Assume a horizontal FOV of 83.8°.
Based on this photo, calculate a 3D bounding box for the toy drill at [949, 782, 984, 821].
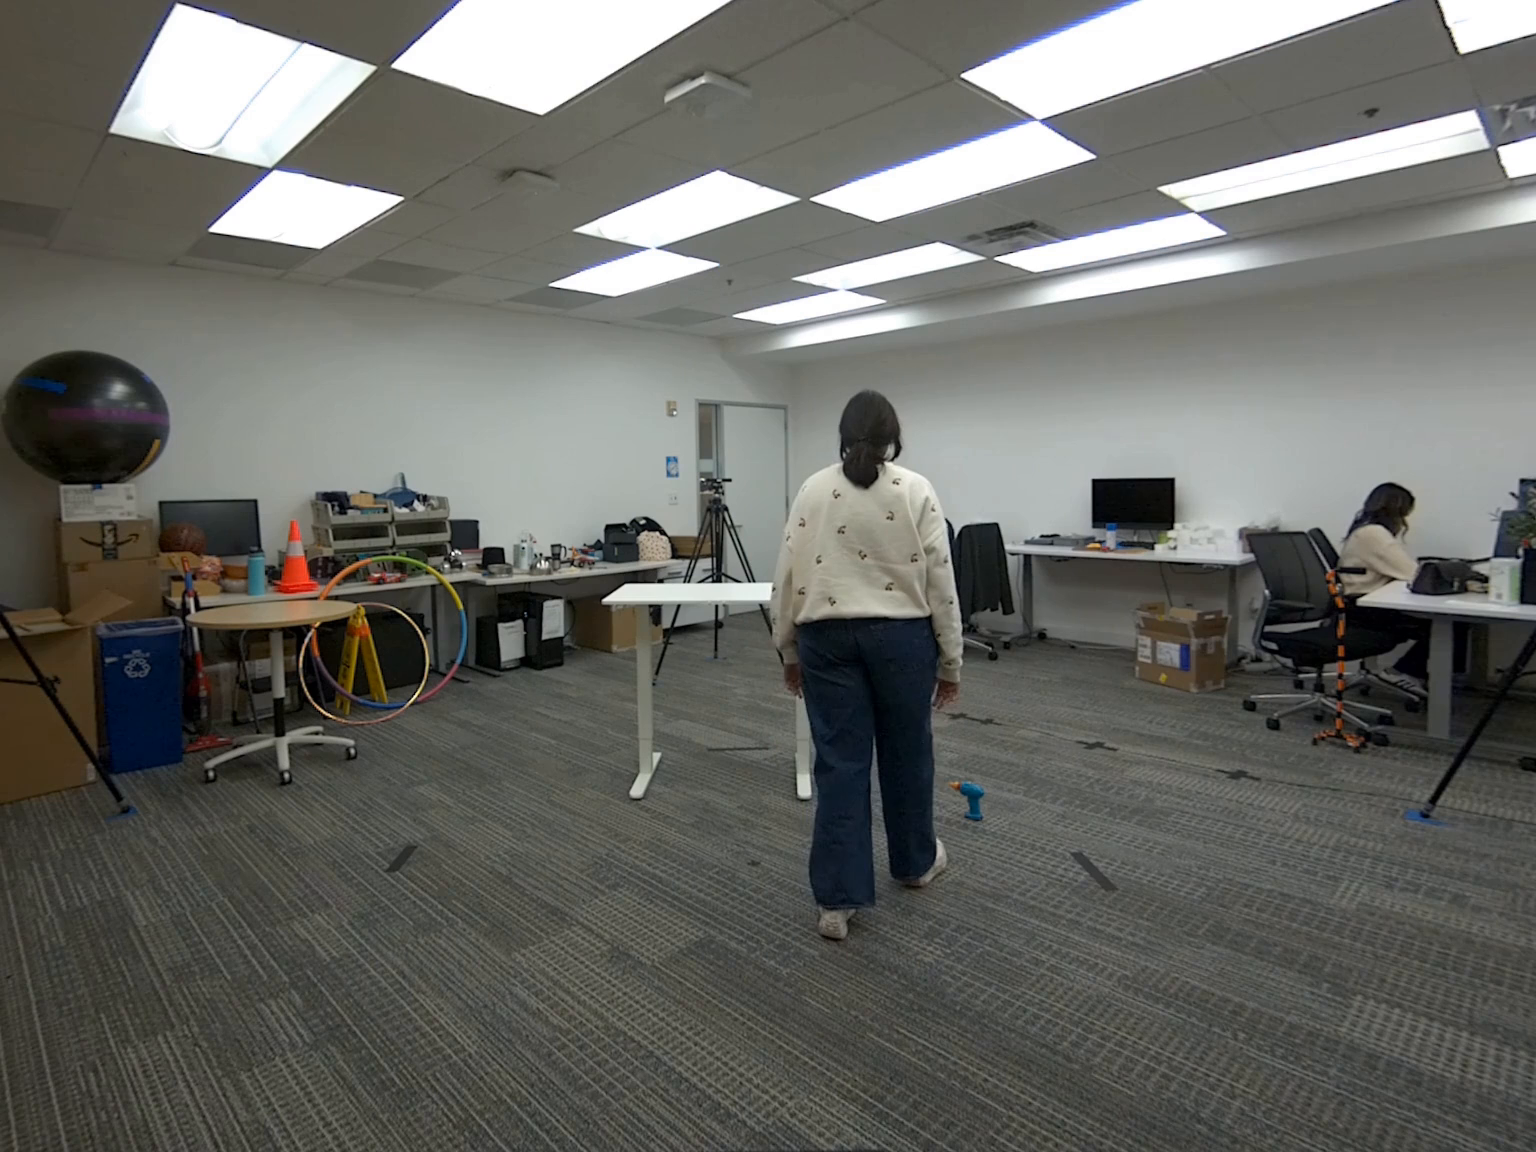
[{"bbox_3d":[0.815,0.913,3.511,0.059,0.145,0.175,-5,6,-42],"label":"toy drill"}]
